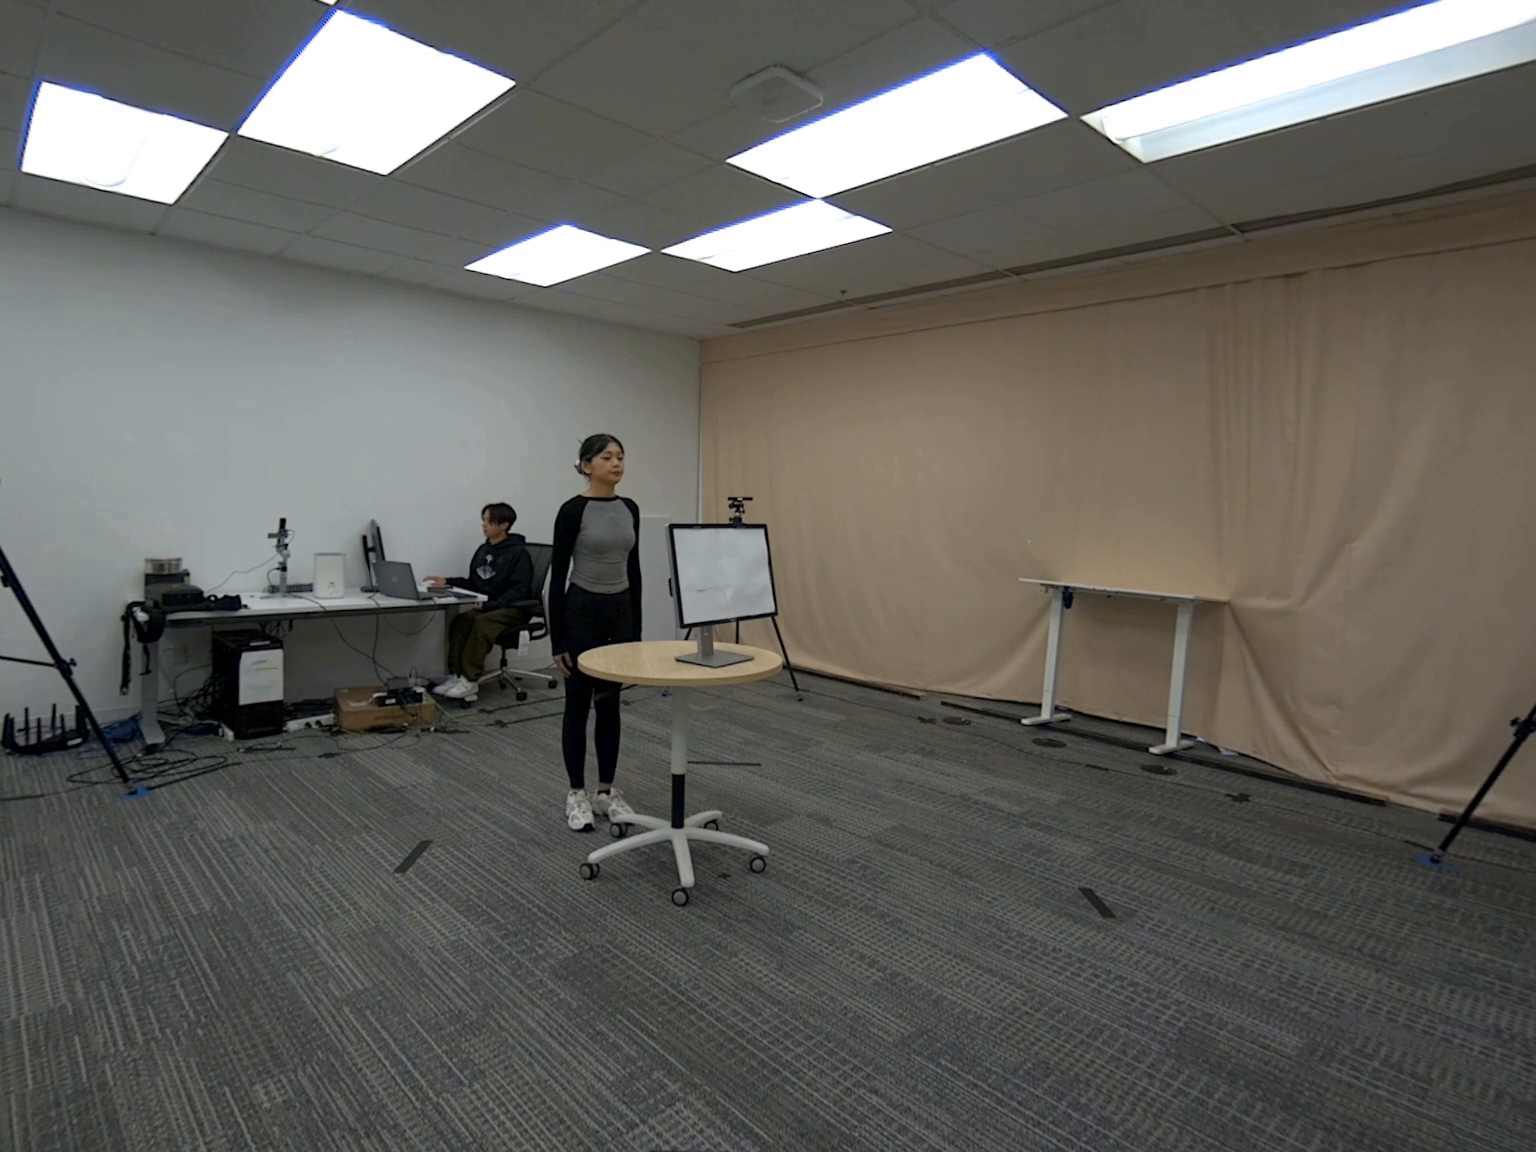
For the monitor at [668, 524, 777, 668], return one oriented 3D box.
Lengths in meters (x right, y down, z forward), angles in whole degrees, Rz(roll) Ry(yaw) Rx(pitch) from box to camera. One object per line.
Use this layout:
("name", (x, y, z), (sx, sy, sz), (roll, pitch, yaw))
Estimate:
("monitor", (-0.197, 0.071, 3.115), (0.192, 0.521, 0.527), (8, 7, 36))
